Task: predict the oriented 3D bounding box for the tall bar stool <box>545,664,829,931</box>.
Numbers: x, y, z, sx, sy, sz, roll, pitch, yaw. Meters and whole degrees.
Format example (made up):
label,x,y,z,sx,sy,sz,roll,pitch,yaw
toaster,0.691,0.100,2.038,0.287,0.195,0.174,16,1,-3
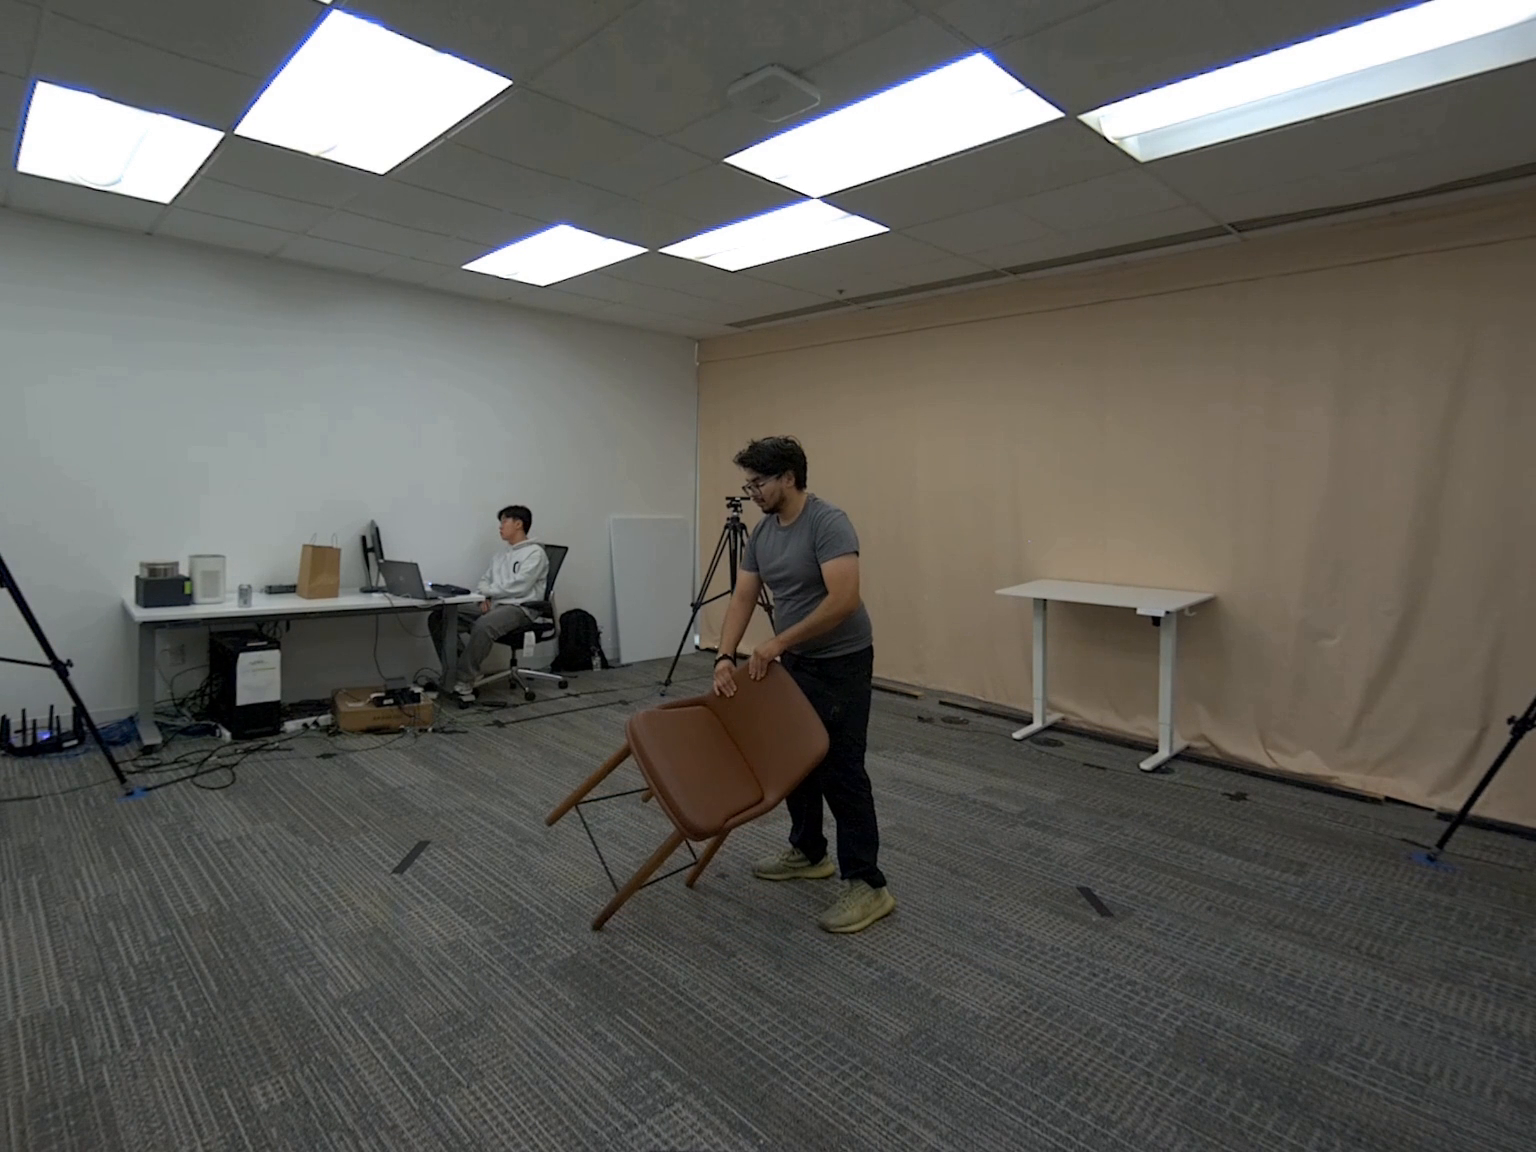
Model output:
label,x,y,z,sx,sy,sz,roll,pitch,yaw
tall bar stool,-0.282,0.693,2.736,0.456,0.888,0.469,3,44,-50
